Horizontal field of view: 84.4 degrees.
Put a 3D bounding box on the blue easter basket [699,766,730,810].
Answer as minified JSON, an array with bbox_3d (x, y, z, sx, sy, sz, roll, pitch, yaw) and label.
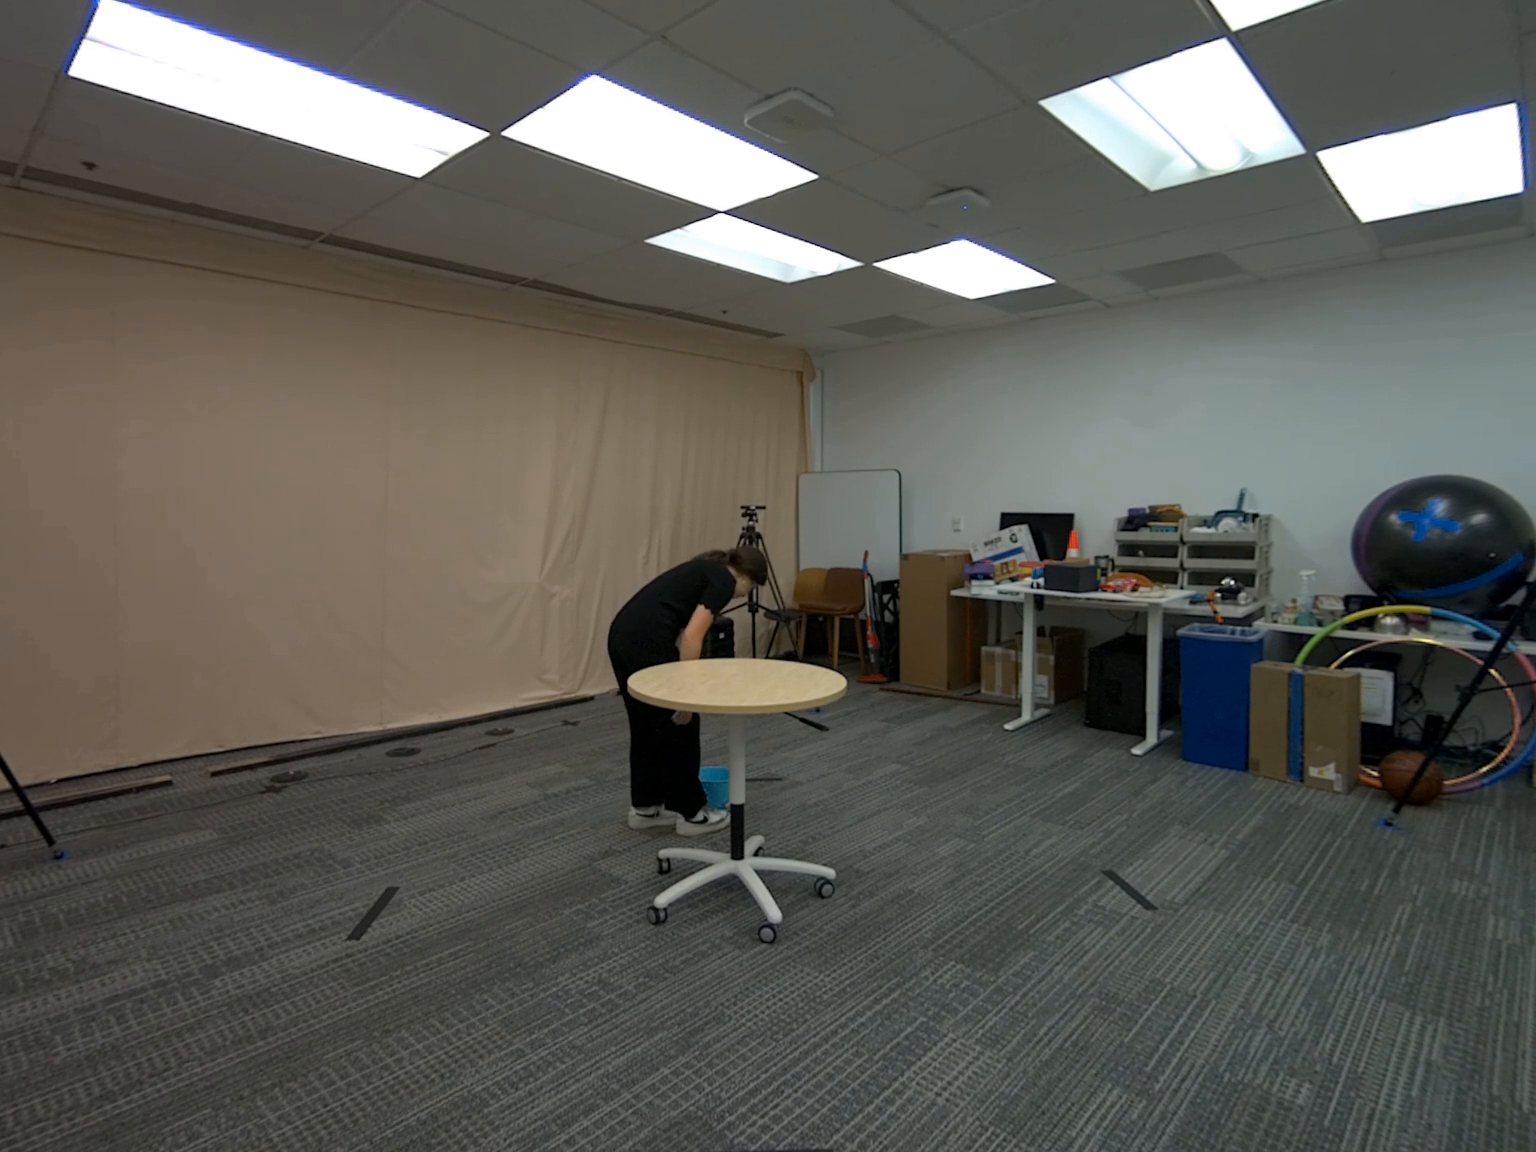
[{"bbox_3d":[-0.261,0.990,3.897,0.243,0.155,0.244,-1,4,-2],"label":"blue easter basket"}]
